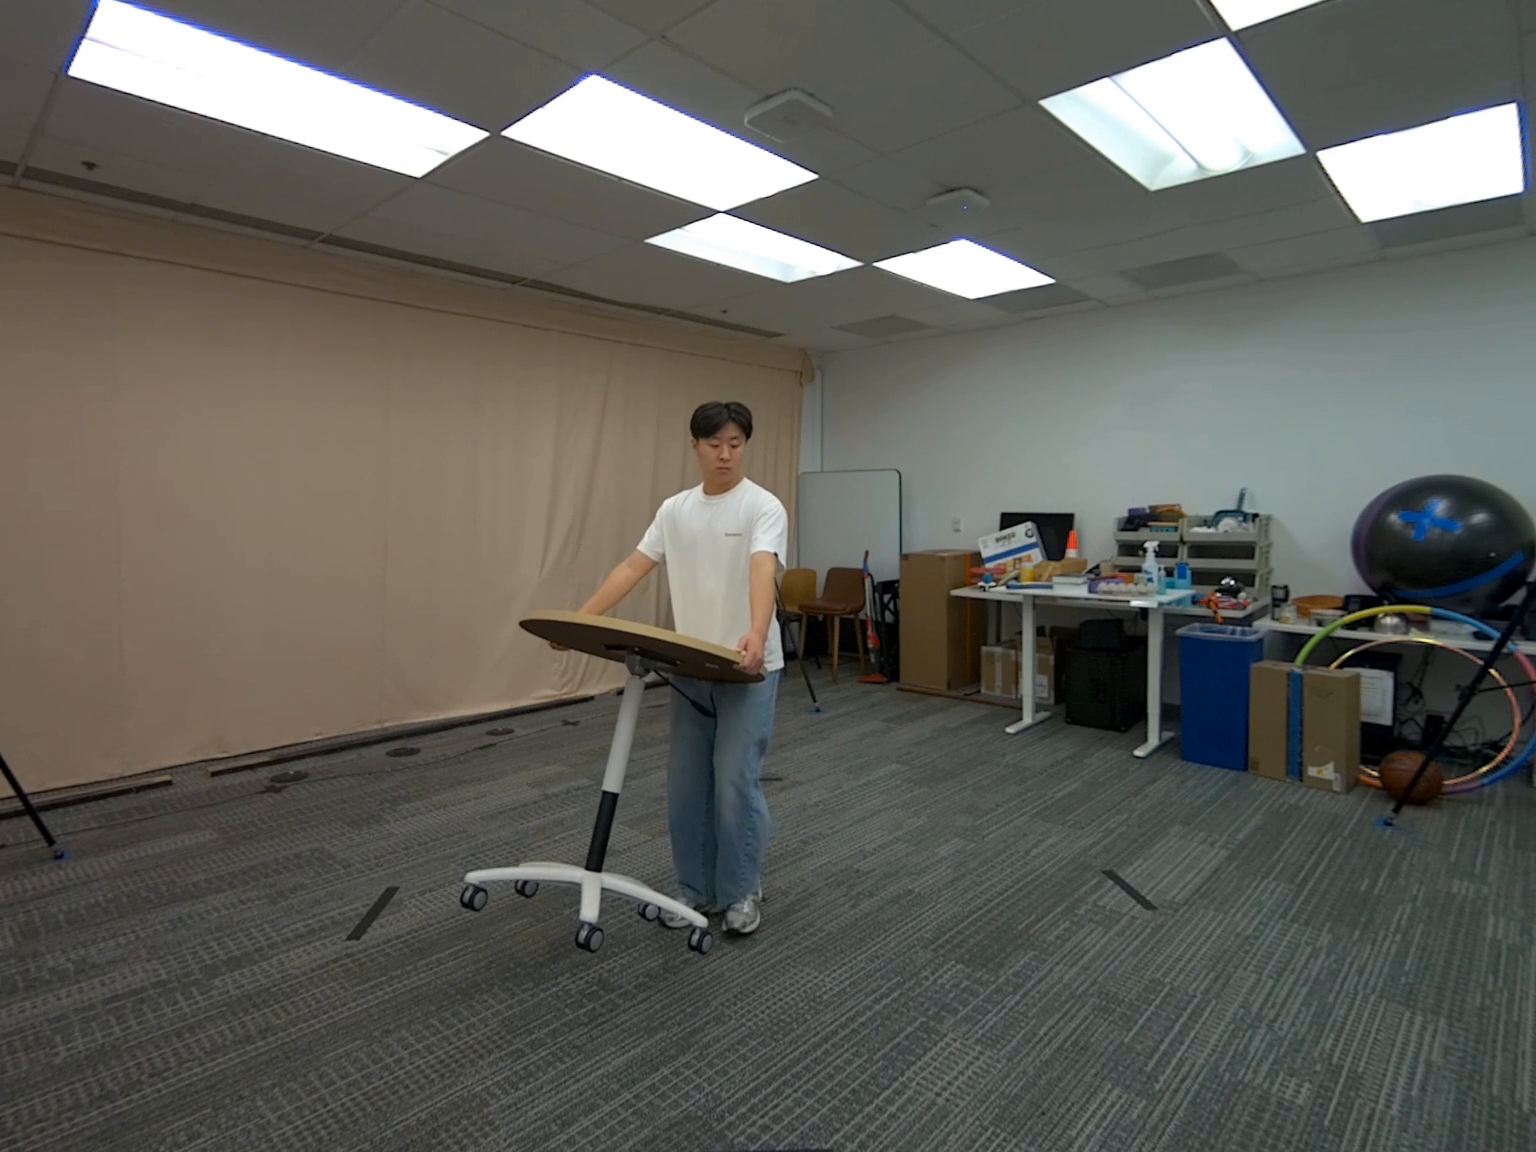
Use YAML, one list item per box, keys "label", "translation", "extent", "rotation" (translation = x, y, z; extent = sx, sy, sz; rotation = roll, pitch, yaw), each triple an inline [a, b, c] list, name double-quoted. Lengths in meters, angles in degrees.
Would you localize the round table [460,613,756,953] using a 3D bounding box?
- label: "round table"
  translation: [-0.445, 0.608, 2.464]
  extent: [0.766, 0.798, 0.758]
  rotation: [11, -14, 1]
